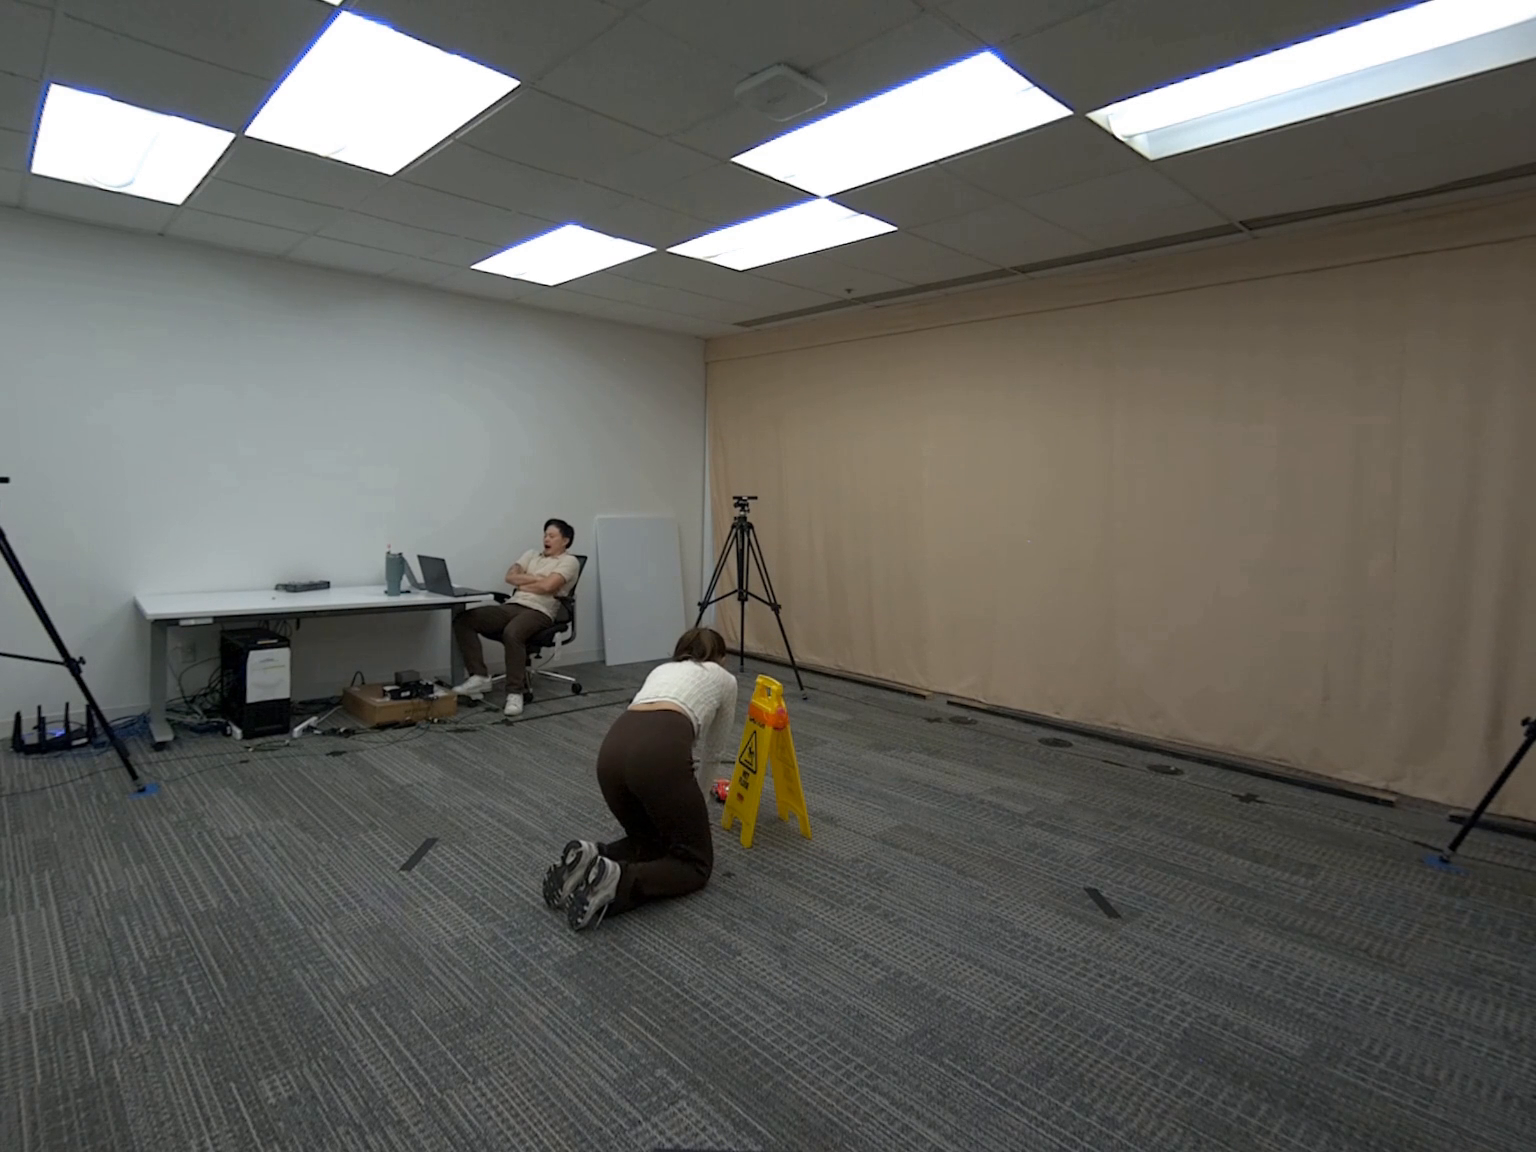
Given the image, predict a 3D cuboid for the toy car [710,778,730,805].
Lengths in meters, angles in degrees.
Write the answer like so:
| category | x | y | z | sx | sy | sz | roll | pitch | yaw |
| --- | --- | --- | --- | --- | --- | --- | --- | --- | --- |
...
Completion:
| category | x | y | z | sx | sy | sz | roll | pitch | yaw |
| --- | --- | --- | --- | --- | --- | --- | --- | --- | --- |
| toy car | -0.208 | 0.996 | 3.918 | 0.128 | 0.084 | 0.257 | 0 | -7 | -23 |
